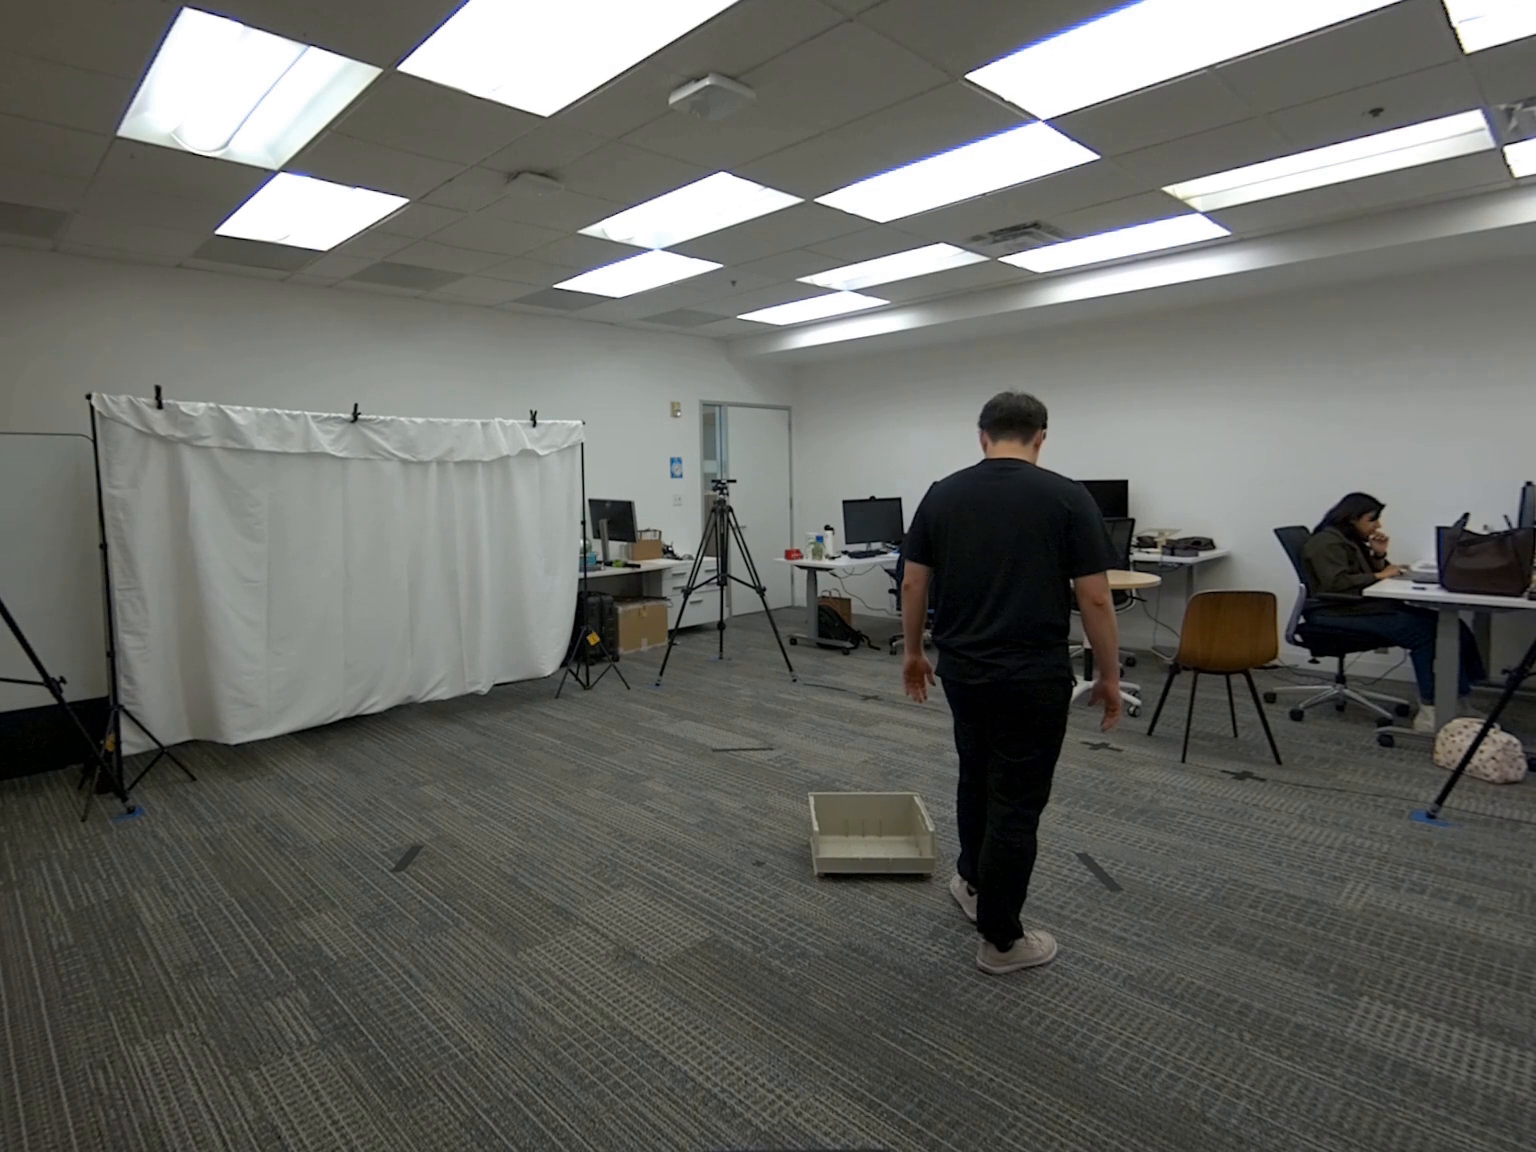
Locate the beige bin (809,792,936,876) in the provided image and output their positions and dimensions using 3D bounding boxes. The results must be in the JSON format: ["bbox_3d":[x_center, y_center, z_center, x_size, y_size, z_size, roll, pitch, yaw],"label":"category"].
[{"bbox_3d":[0.373,0.949,3.125,0.423,0.188,0.378,-2,5,1],"label":"beige bin"}]
